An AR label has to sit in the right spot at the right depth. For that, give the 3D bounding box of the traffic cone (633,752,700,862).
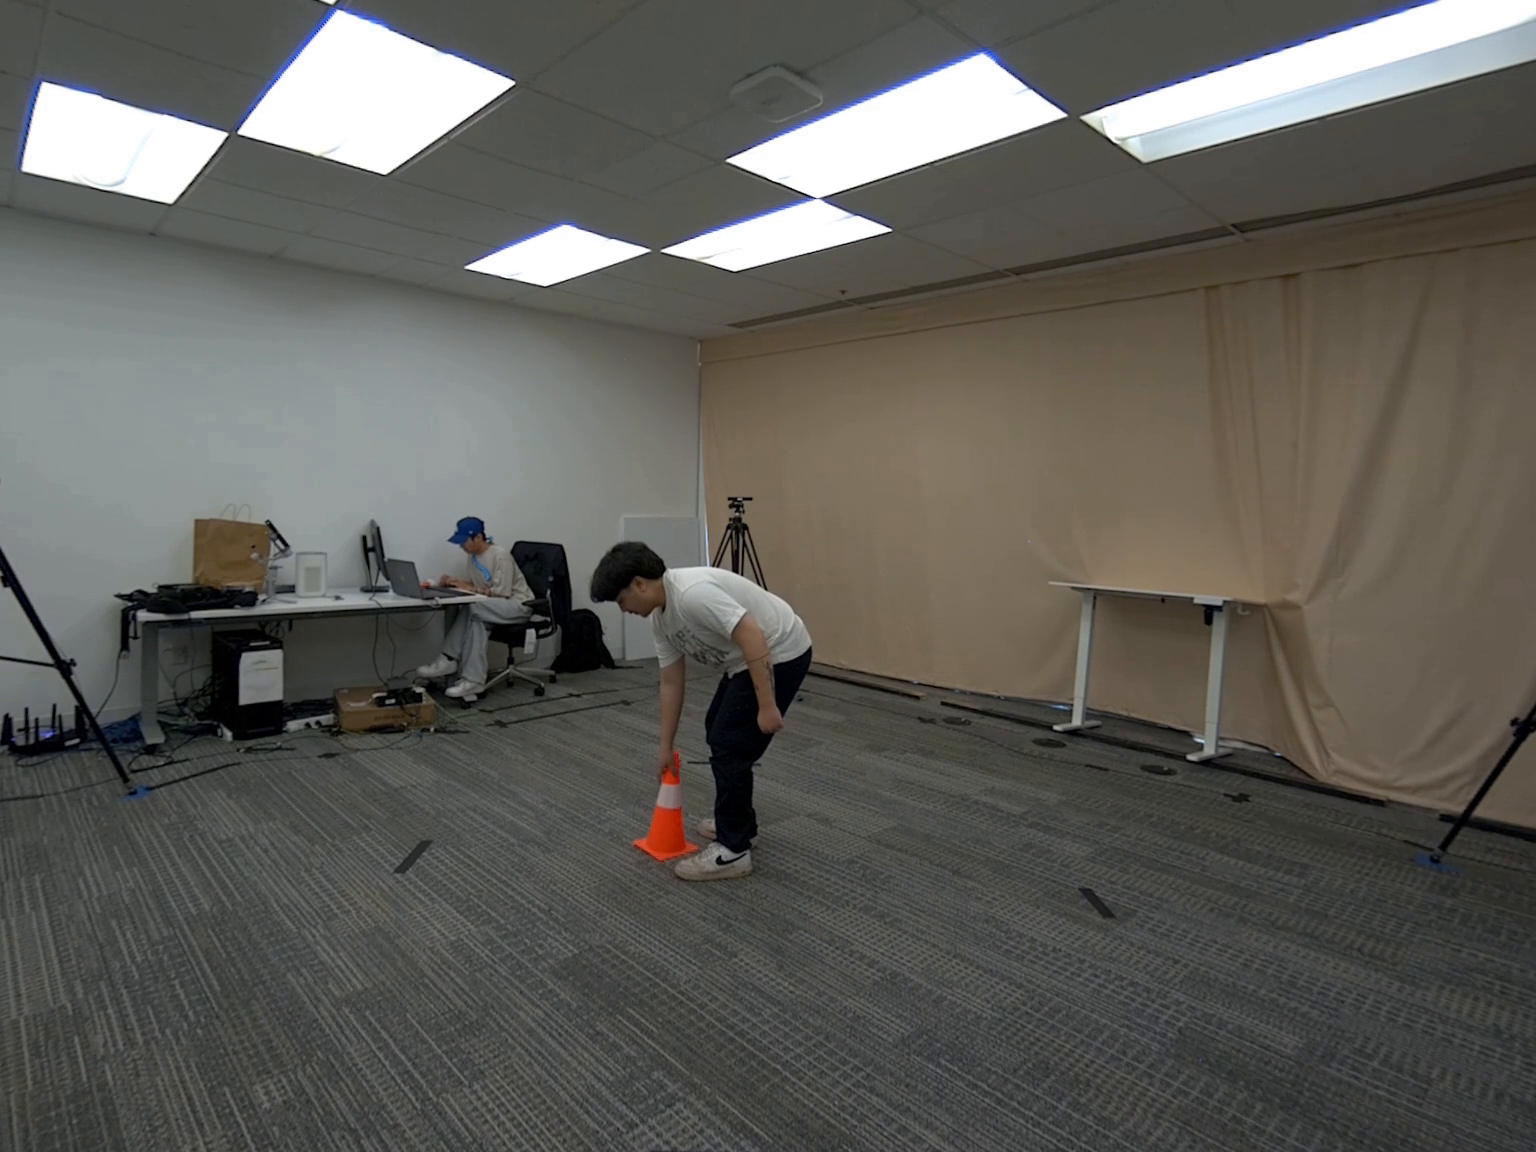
[{"bbox_3d":[-0.393,0.888,3.341,0.198,0.383,0.210,3,3,-42],"label":"traffic cone"}]
